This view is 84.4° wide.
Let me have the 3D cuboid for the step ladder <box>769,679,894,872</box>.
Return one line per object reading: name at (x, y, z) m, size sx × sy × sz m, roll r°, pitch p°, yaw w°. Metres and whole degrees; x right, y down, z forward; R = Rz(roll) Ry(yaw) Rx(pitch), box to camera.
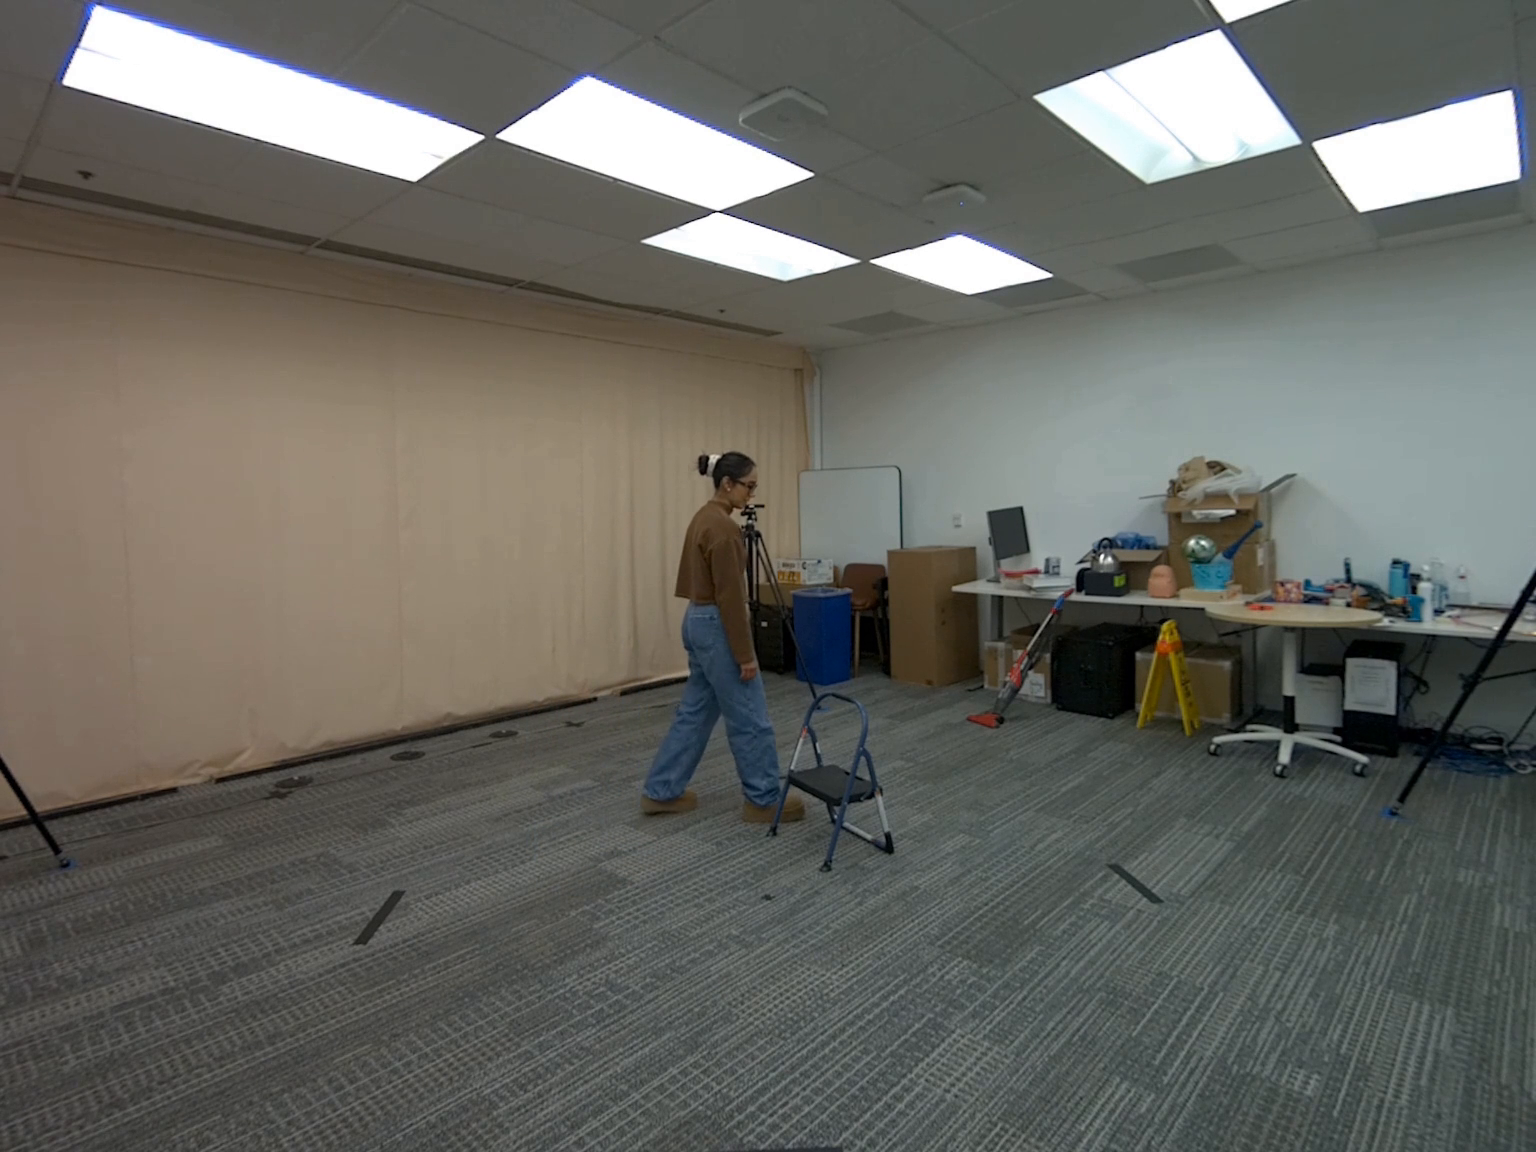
step ladder at (0.254, 0.792, 3.427) m, size 0.340 × 0.605 × 0.443 m, roll -2°, pitch 4°, yaw -30°
